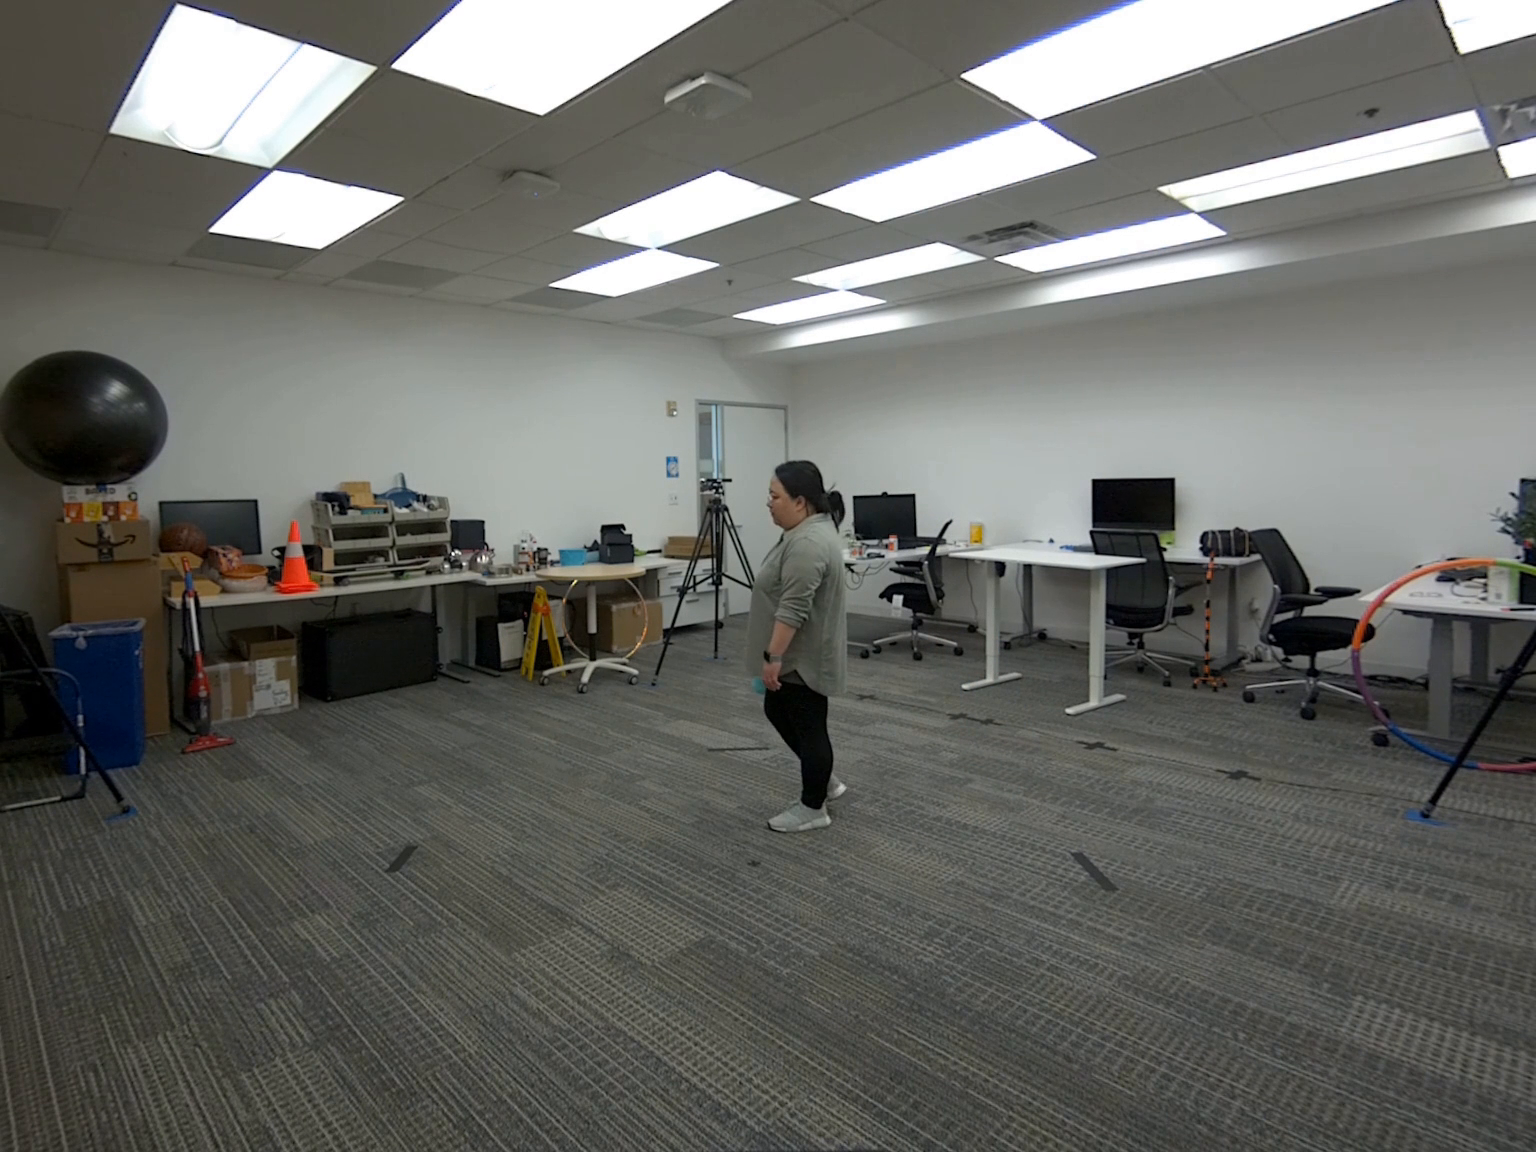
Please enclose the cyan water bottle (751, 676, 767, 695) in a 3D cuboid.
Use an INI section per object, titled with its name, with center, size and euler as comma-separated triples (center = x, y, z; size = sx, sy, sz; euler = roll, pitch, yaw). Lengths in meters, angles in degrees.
[cyan water bottle]
center = 0.019, 0.388, 3.821
size = 0.092, 0.281, 0.093
euler = 9, 13, -4
